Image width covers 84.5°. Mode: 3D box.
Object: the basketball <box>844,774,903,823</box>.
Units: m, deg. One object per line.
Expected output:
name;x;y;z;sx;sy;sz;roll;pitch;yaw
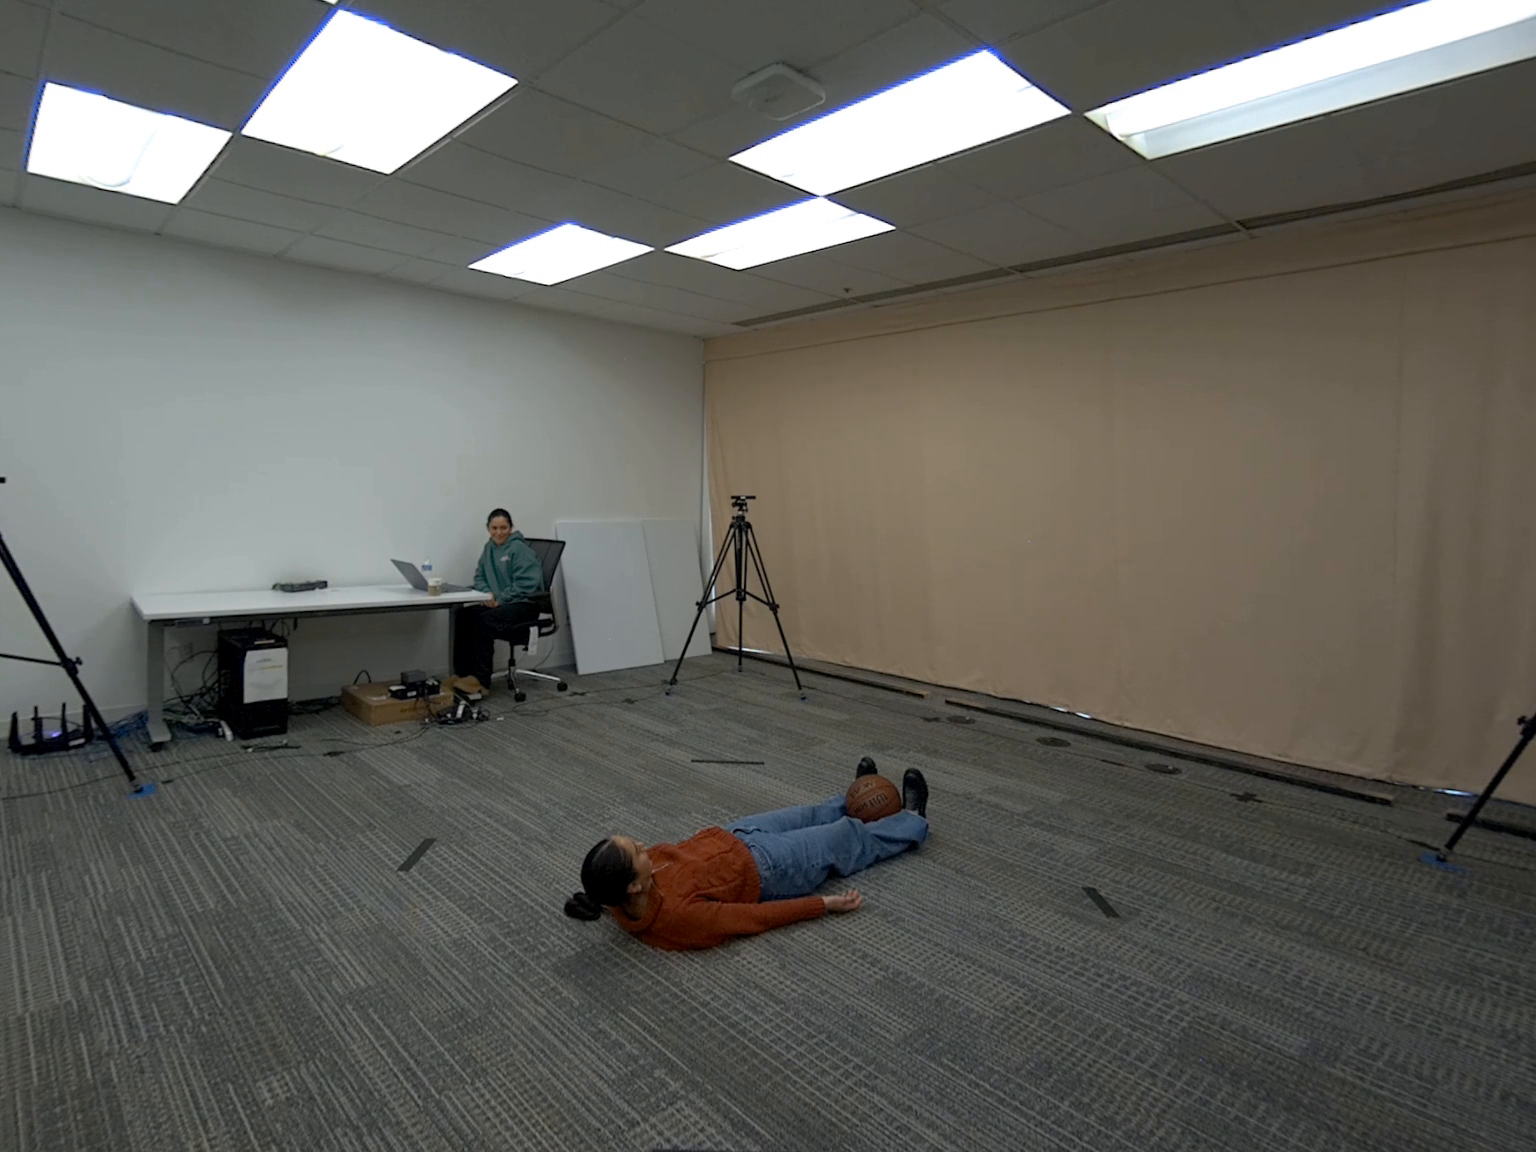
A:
basketball;0.434;0.961;3.554;0.236;0.235;0.237;1;4;-1
